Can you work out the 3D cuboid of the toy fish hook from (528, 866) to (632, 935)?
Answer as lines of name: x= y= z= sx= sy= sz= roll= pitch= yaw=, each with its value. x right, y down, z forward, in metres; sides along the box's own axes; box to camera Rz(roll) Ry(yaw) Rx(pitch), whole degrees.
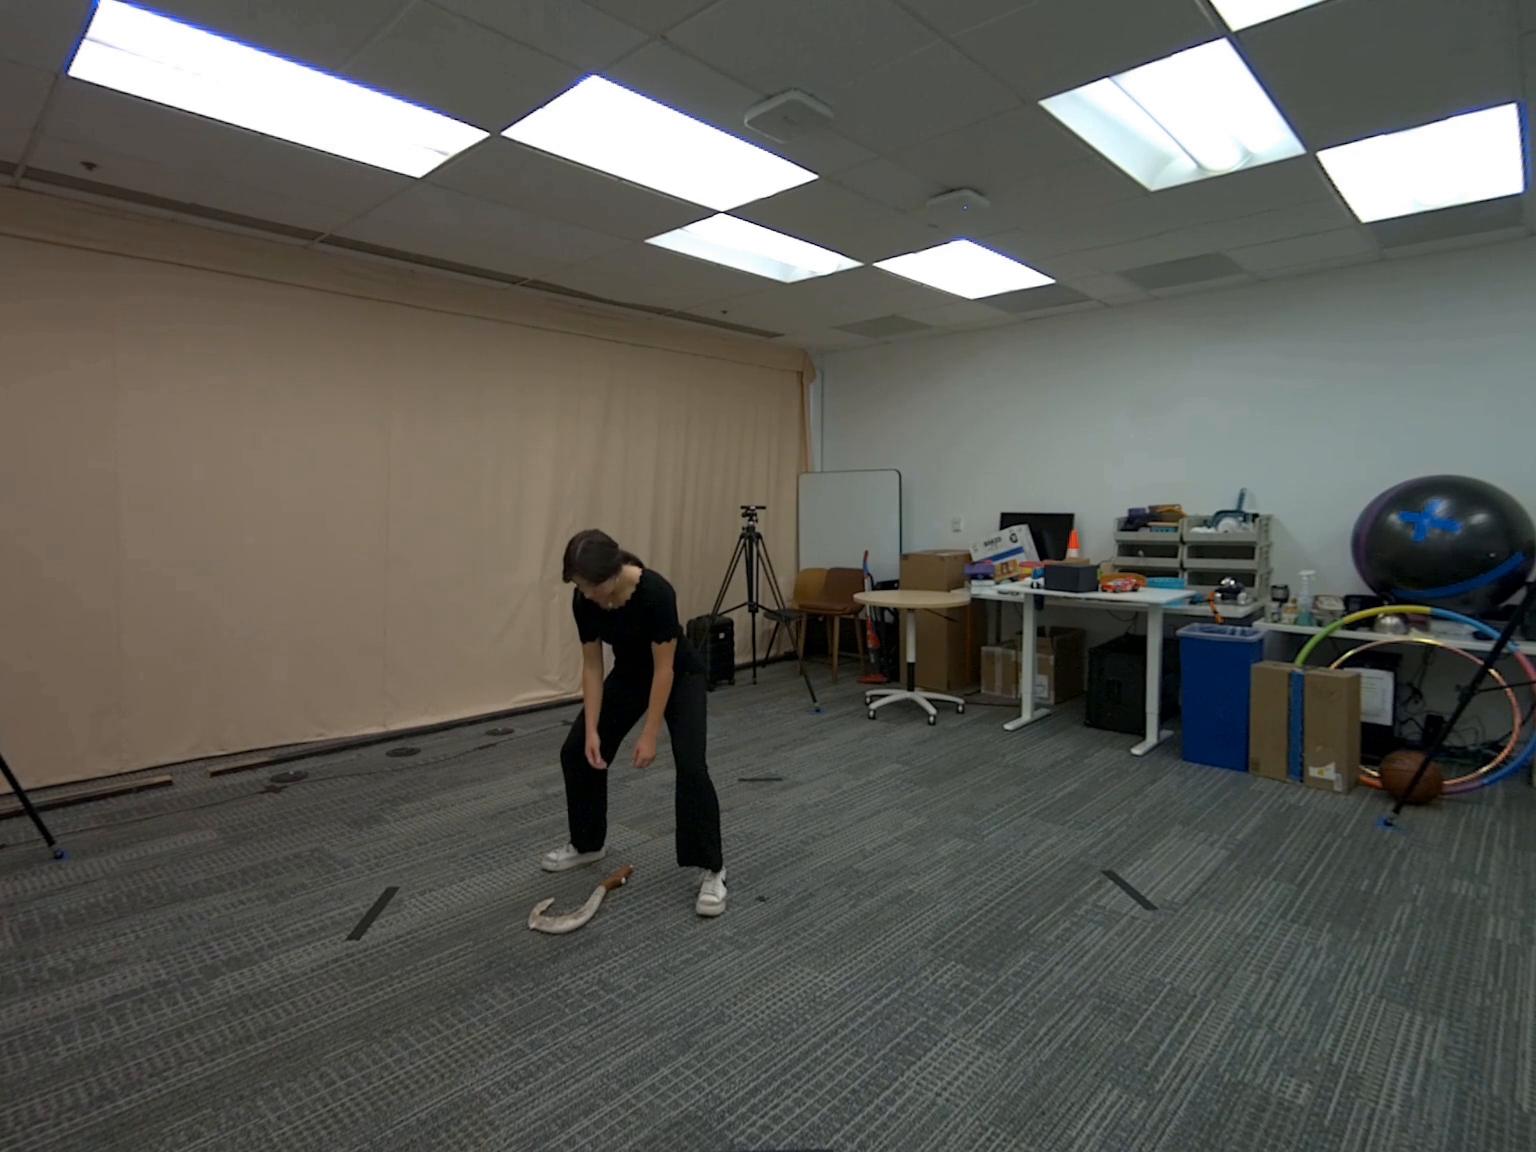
toy fish hook: x=-0.656 y=1.126 z=2.976 sx=0.230 sy=0.048 sz=0.496 roll=3 pitch=5 yaw=20
